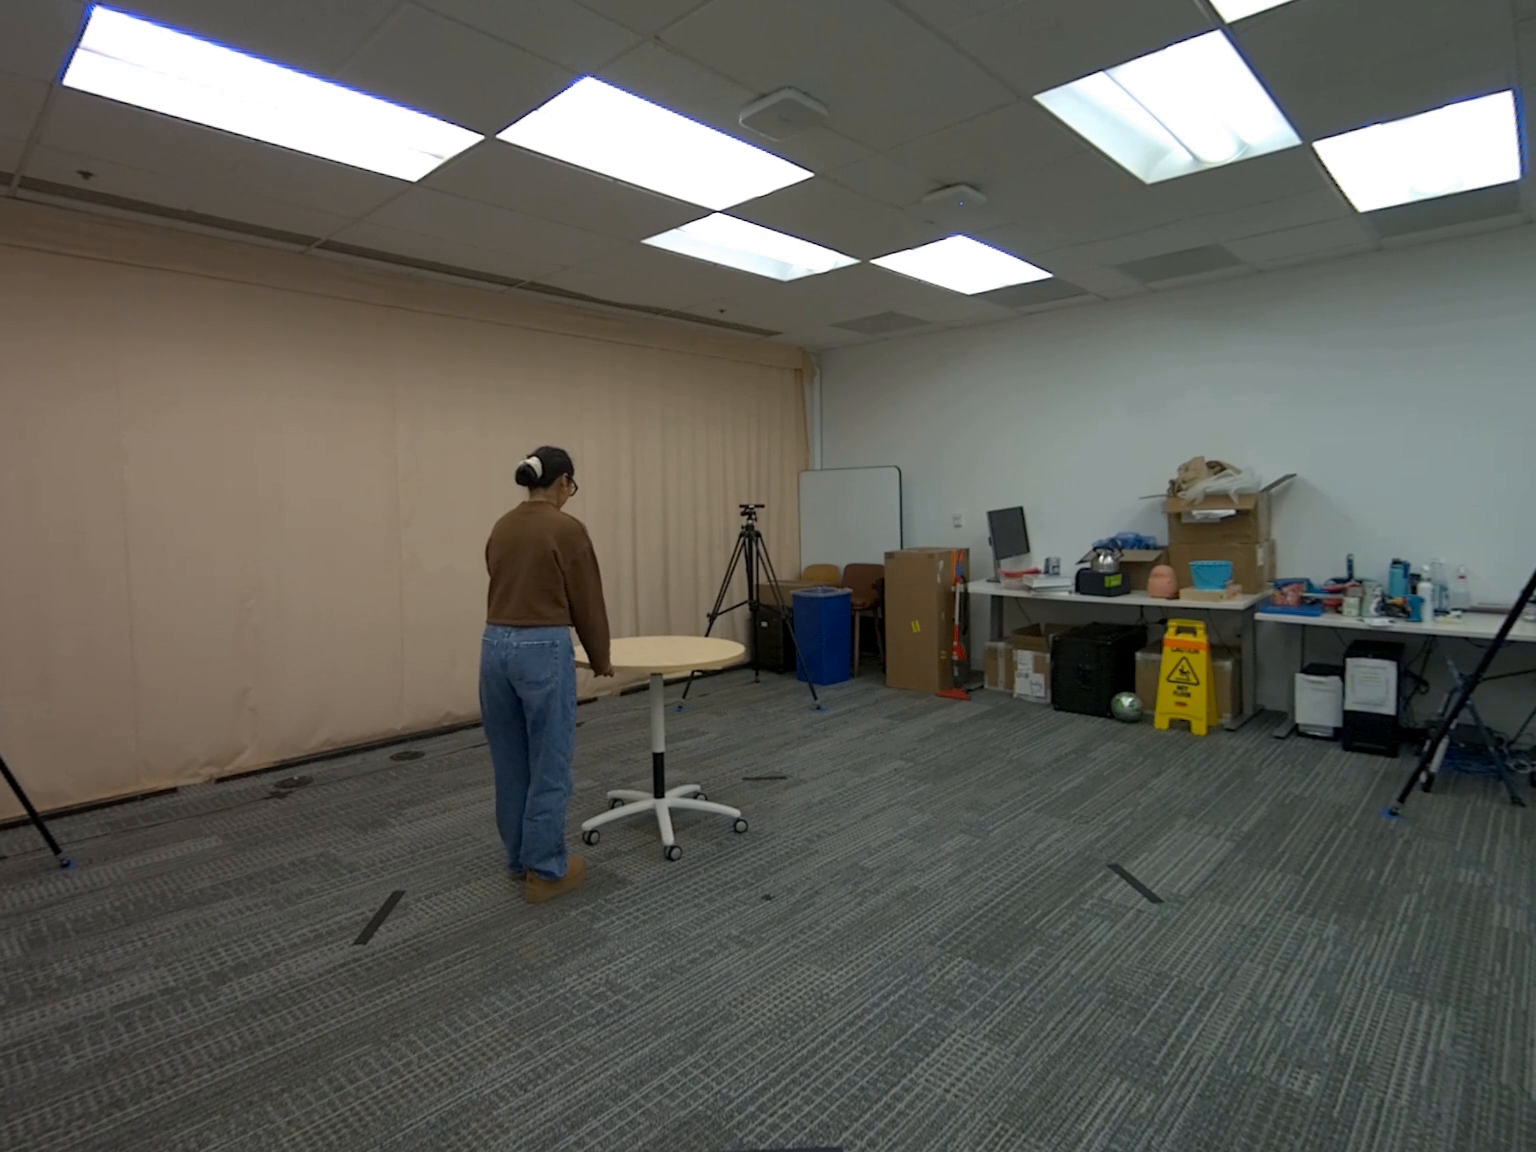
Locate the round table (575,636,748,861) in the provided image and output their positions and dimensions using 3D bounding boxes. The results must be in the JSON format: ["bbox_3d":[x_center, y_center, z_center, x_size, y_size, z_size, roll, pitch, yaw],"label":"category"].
[{"bbox_3d":[-0.470,0.707,3.616,0.763,0.792,0.766,-1,3,-2],"label":"round table"}]
